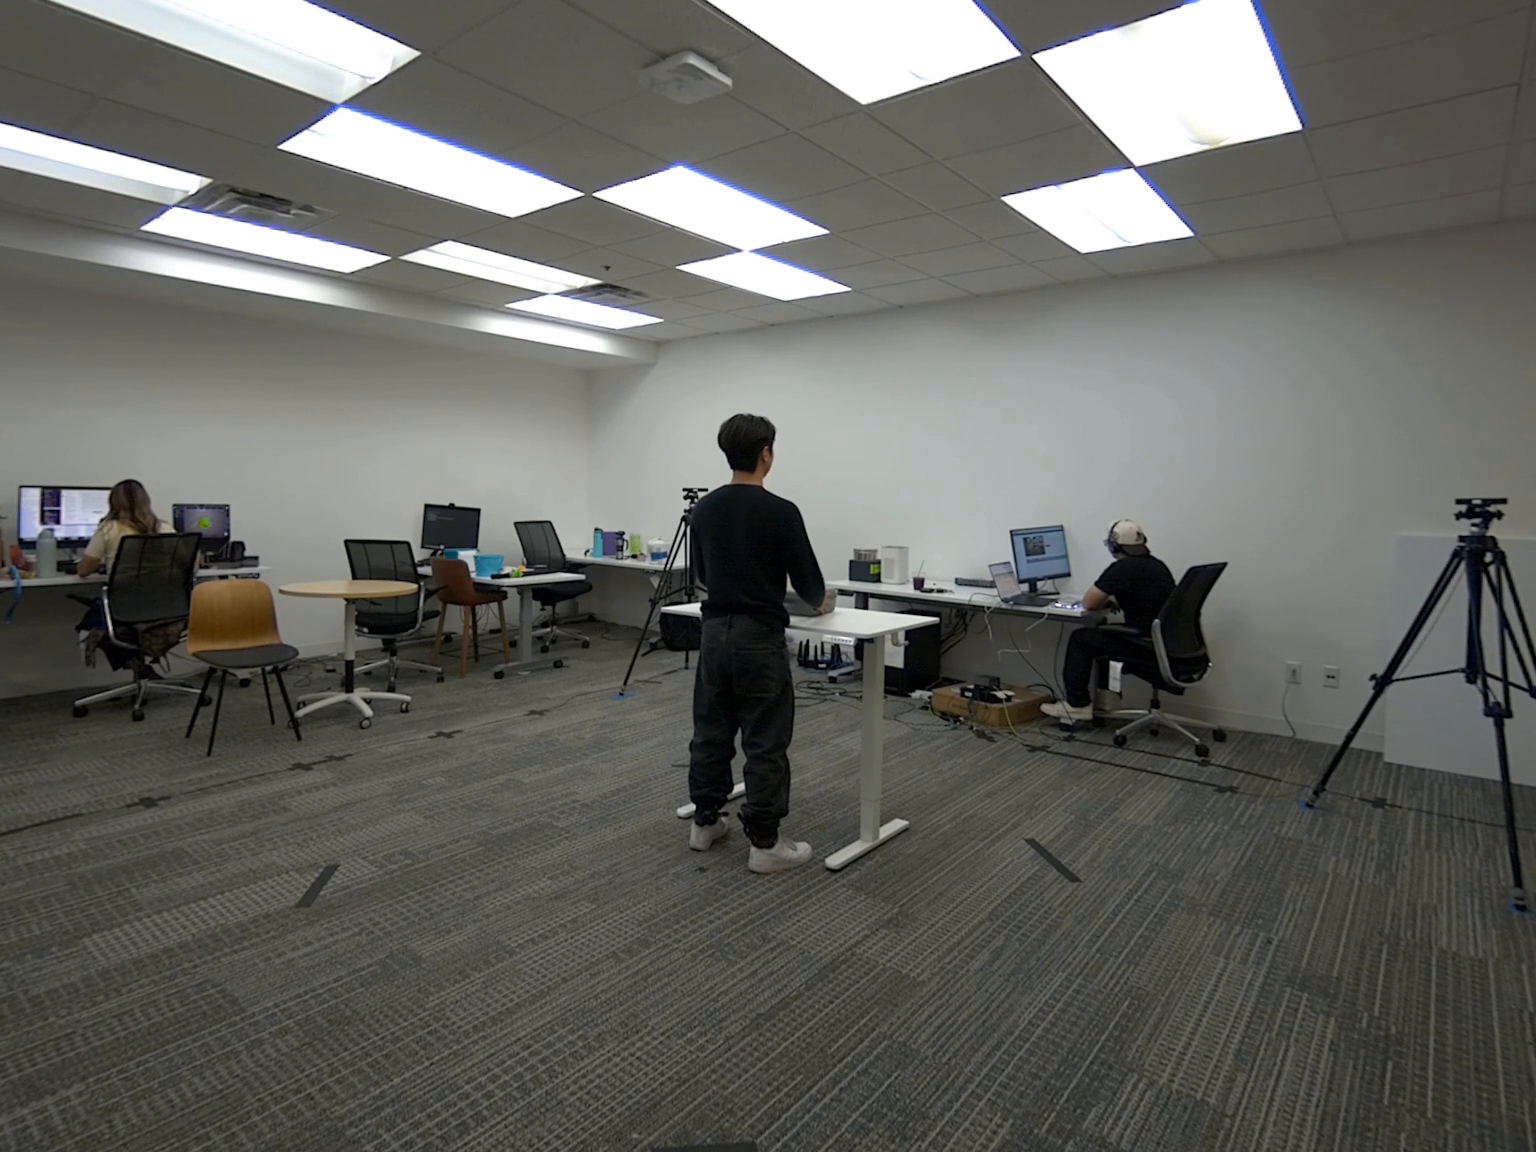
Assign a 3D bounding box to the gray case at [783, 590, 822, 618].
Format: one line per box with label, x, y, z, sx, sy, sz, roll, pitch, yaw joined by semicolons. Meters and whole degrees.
gray case;0.123;0.096;3.584;0.265;0.104;0.253;5;5;36
